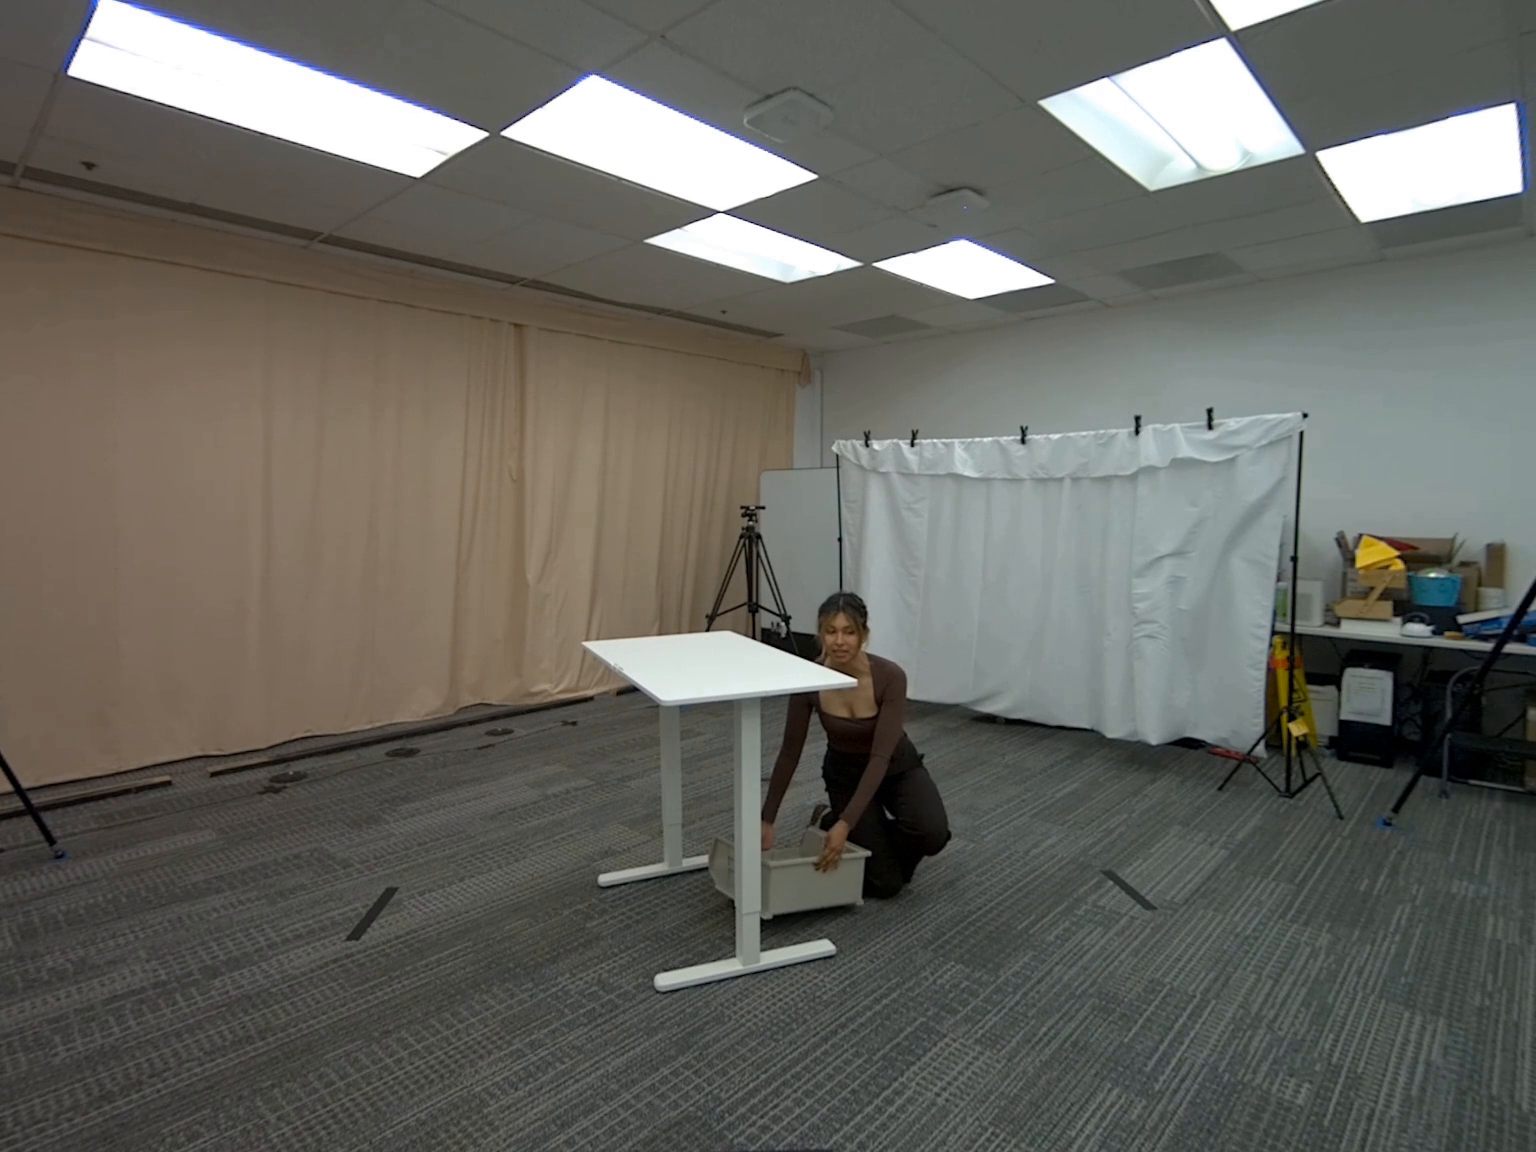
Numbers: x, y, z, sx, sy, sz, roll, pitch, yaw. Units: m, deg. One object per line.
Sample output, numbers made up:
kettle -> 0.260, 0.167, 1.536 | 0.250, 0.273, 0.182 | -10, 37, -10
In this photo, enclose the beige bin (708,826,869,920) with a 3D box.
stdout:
beige bin -> 0.072, 1.015, 2.914 | 0.409, 0.189, 0.389 | 6, -2, -33
